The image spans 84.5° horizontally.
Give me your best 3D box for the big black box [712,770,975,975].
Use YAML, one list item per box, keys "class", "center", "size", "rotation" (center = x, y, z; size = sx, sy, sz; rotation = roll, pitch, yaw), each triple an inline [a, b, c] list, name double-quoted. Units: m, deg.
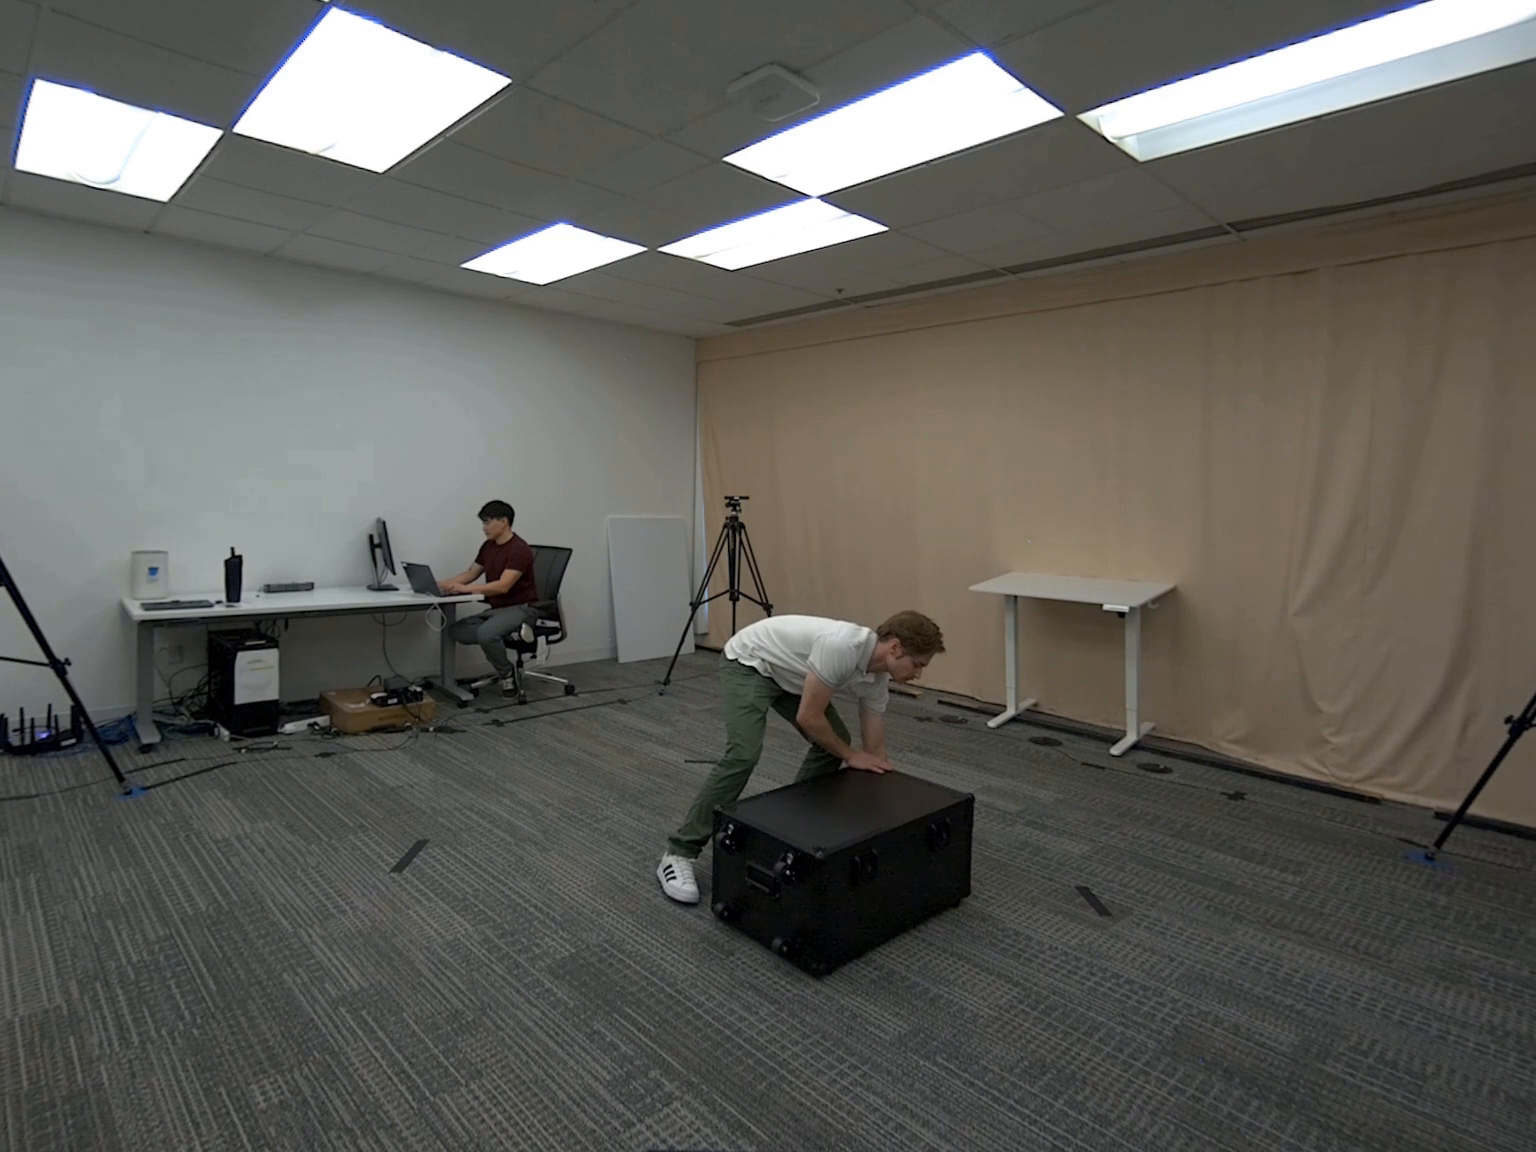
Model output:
- class: "big black box"
  center: [0.236, 0.949, 2.818]
  size: [0.842, 0.395, 0.534]
  rotation: [-3, 6, -43]
